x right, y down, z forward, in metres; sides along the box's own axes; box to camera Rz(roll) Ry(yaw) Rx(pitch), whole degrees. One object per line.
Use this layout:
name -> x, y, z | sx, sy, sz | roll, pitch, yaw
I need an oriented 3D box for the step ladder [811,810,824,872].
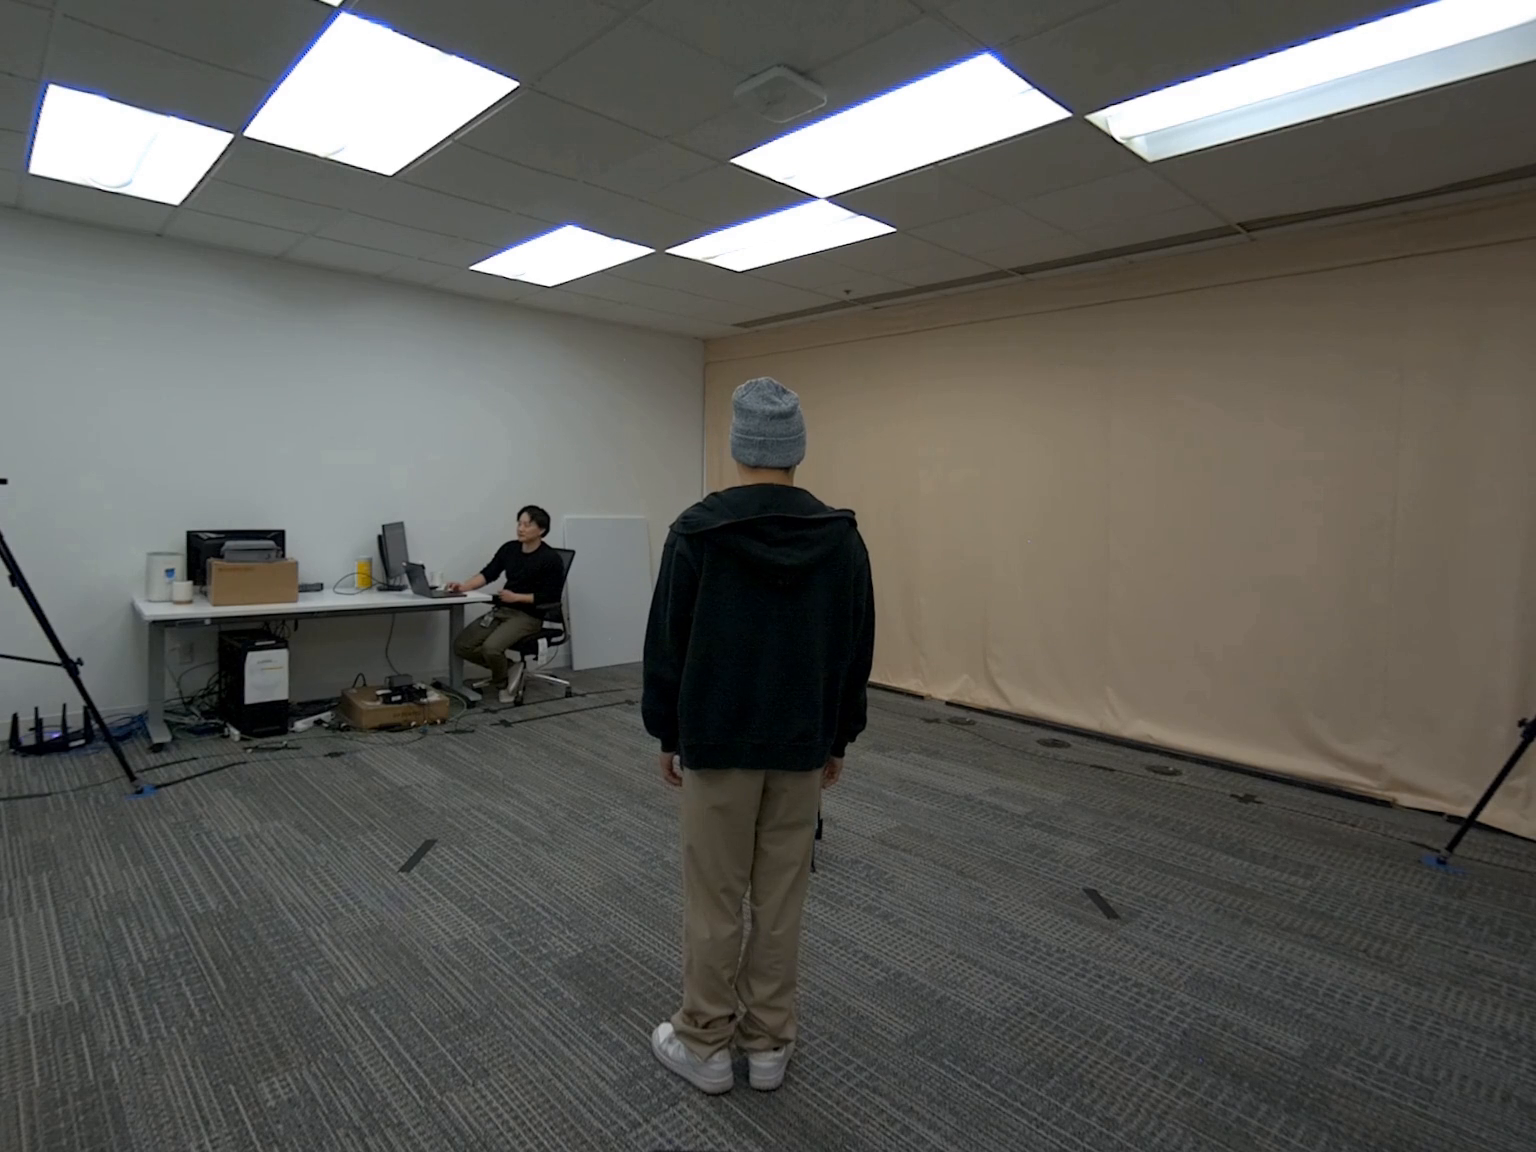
step ladder -> 0.000, 0.790, 3.349 | 0.435, 0.605, 0.347 | 2, 3, 11
